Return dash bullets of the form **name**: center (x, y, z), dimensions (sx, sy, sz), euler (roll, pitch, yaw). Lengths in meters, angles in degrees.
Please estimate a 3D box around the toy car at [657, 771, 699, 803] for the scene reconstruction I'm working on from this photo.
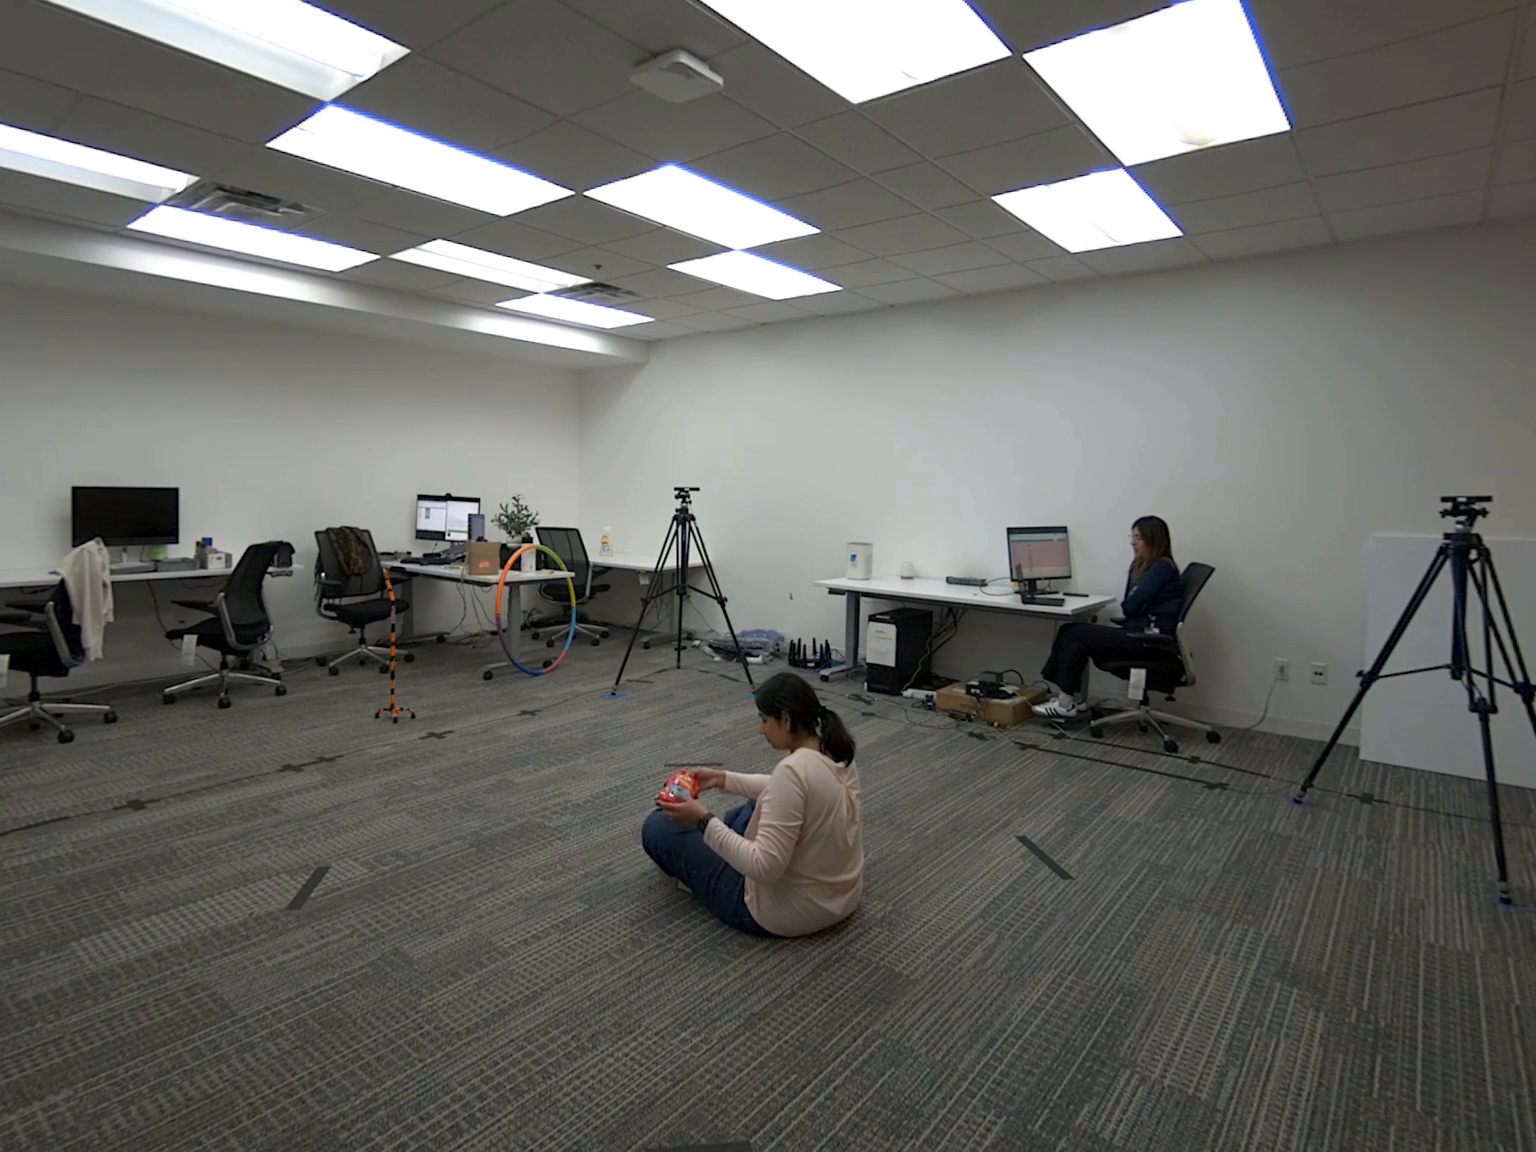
- **toy car**: center (-0.296, 0.715, 2.839), dimensions (0.131, 0.082, 0.256), euler (18, 16, 0)
